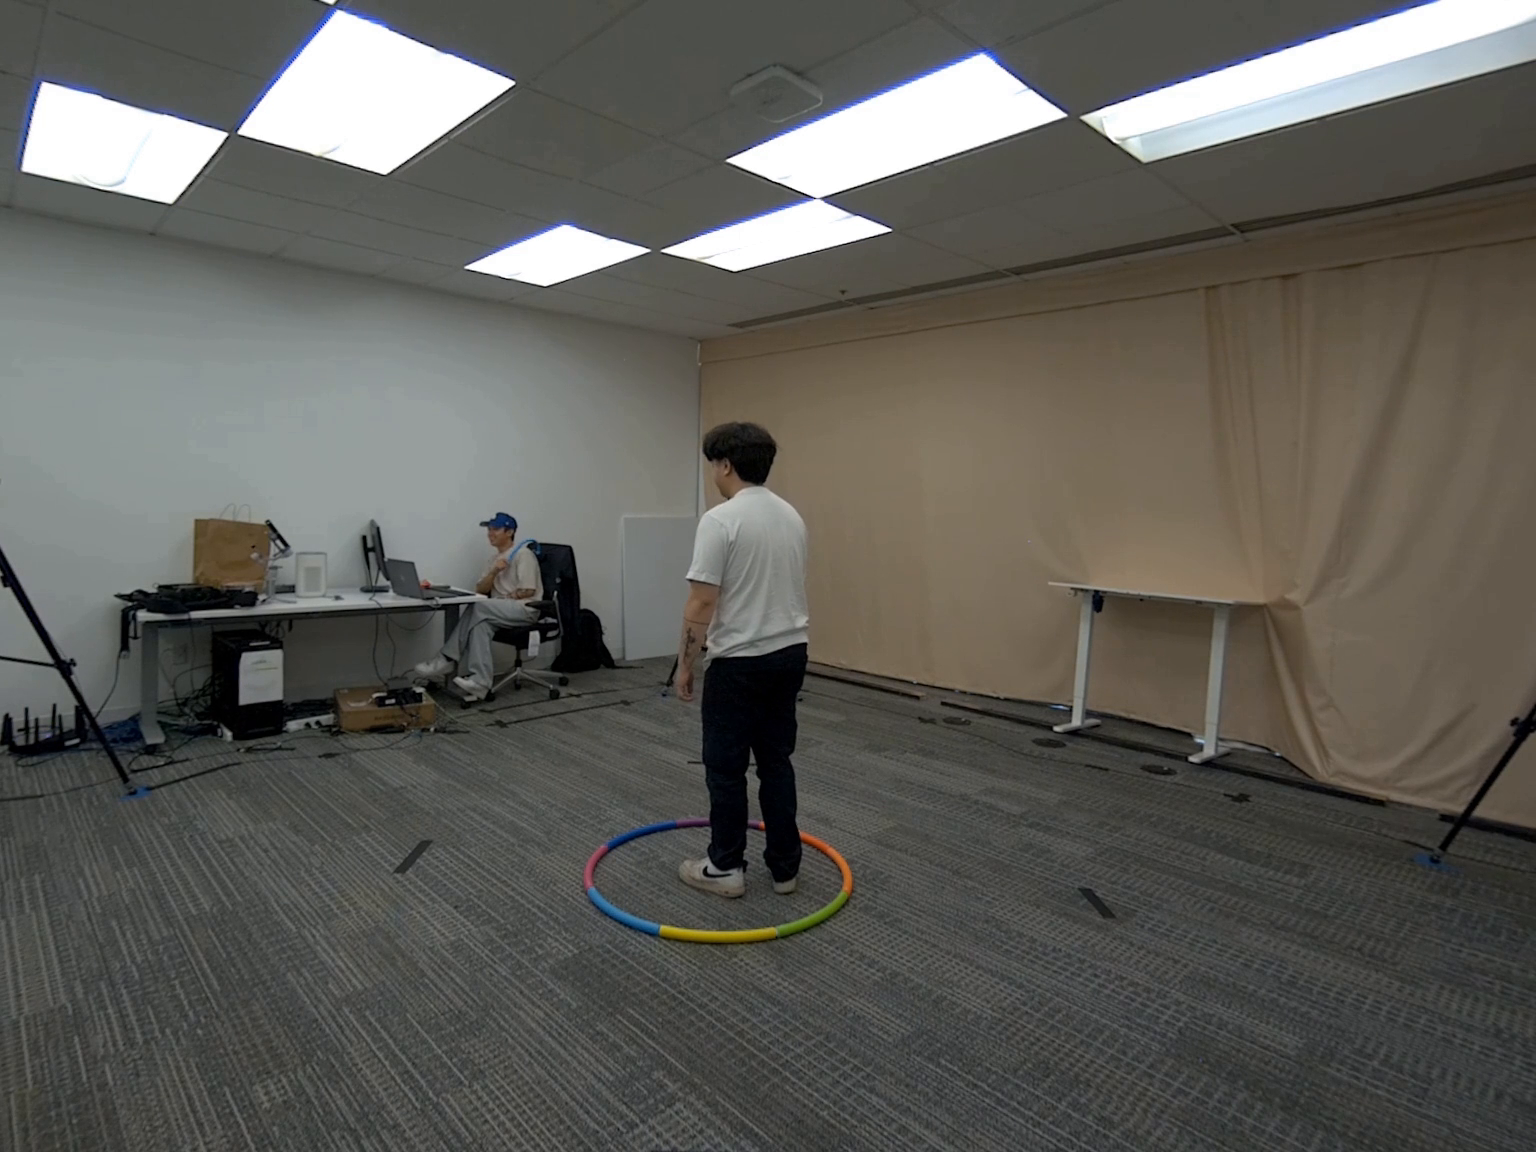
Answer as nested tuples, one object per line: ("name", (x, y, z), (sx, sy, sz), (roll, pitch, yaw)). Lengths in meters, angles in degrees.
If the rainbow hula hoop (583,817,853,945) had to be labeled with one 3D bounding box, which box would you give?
("rainbow hula hoop", (-0.191, 1.084, 3.108), (0.985, 0.051, 0.989), (1, 5, -1))
